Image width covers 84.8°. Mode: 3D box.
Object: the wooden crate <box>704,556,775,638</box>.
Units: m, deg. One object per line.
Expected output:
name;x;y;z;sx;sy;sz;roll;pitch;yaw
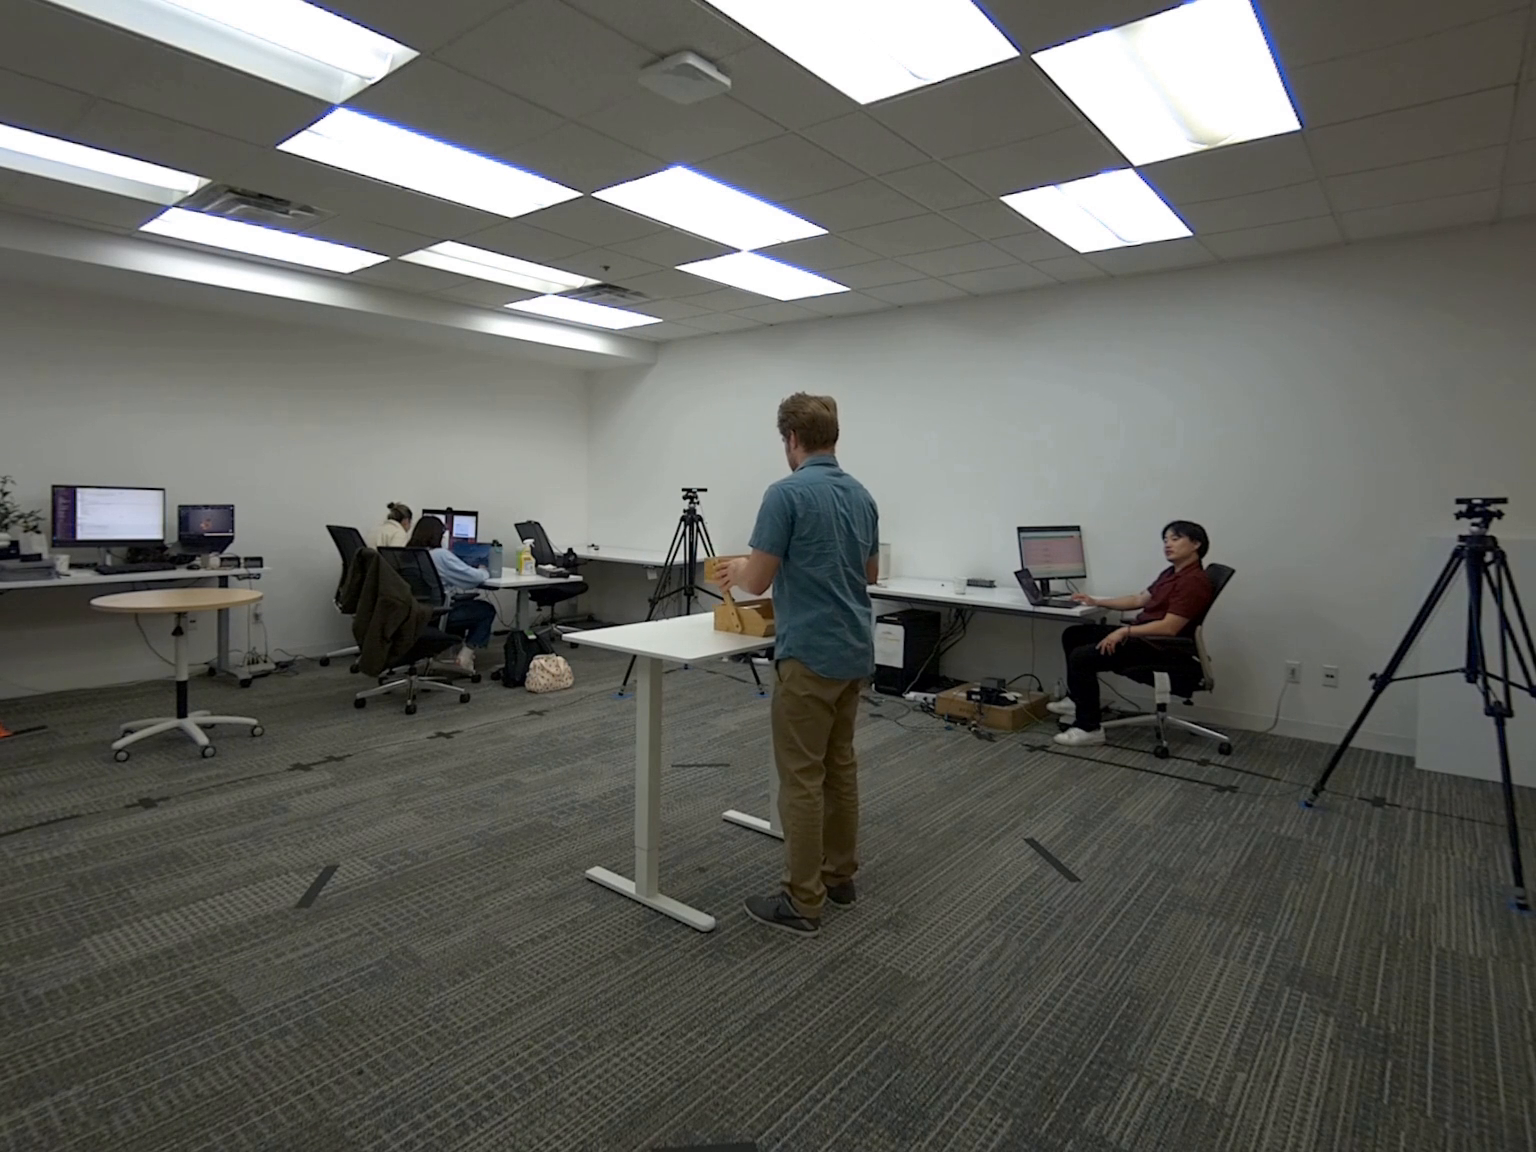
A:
wooden crate;-0.029;0.057;3.103;0.312;0.272;0.315;3;5;42
